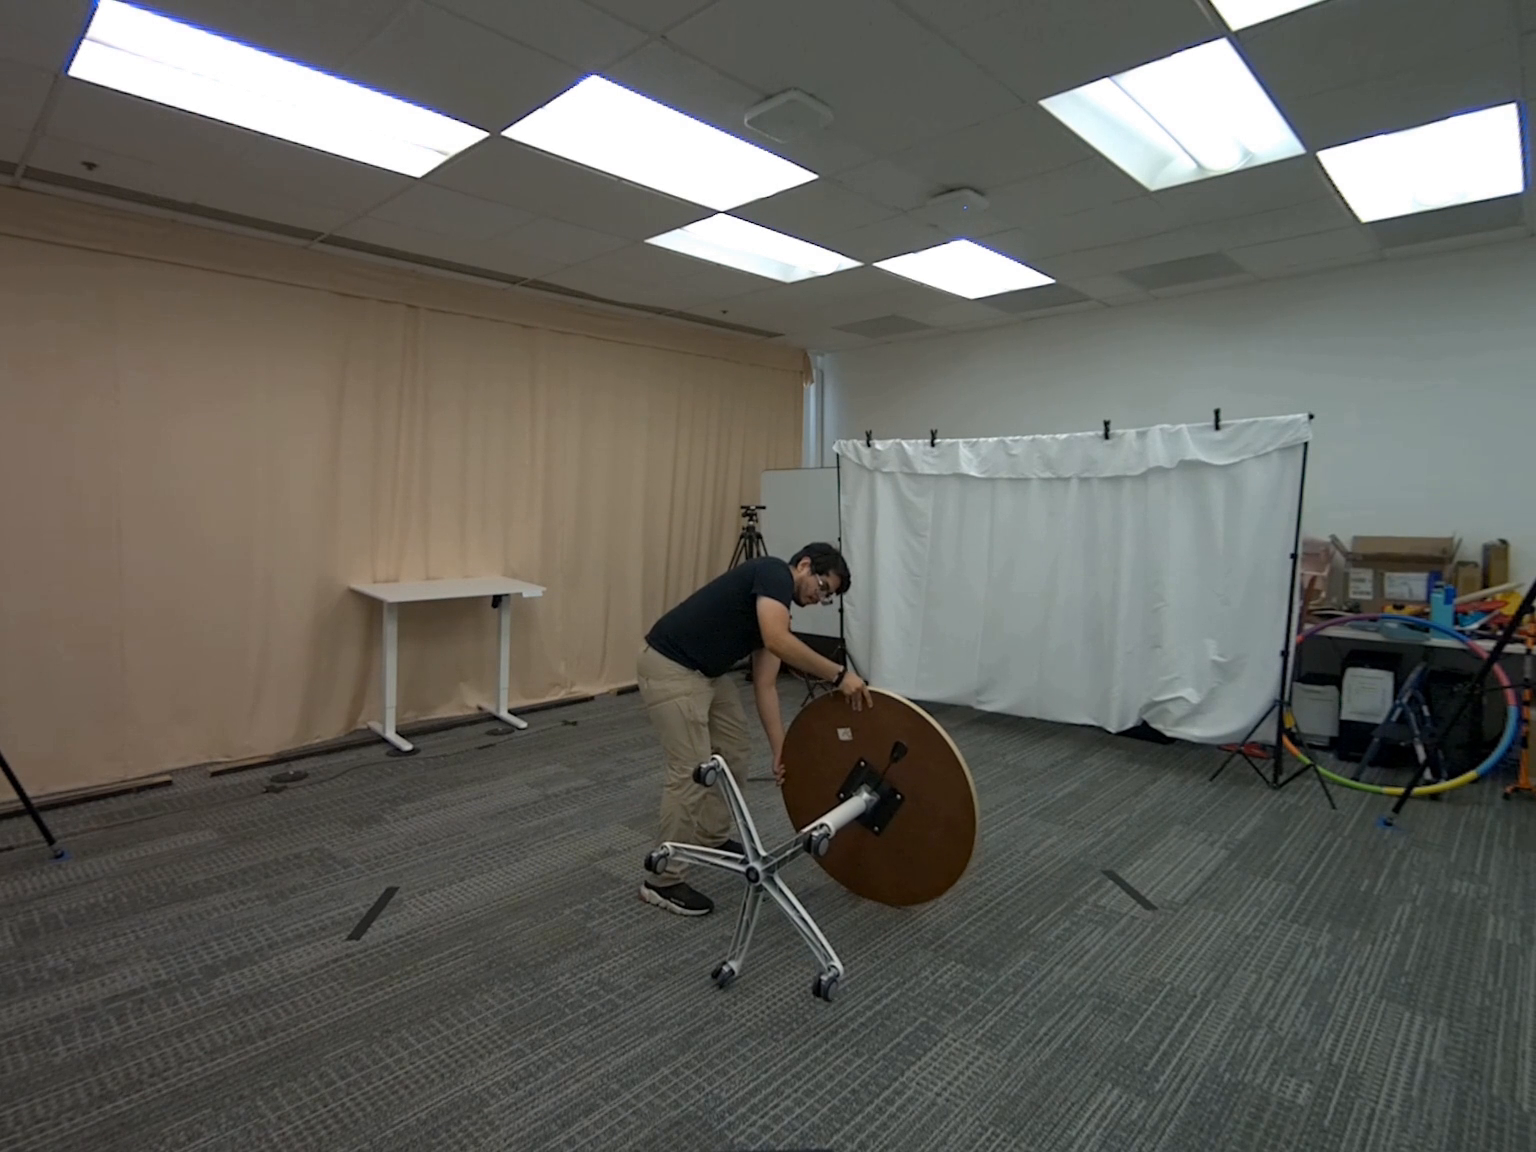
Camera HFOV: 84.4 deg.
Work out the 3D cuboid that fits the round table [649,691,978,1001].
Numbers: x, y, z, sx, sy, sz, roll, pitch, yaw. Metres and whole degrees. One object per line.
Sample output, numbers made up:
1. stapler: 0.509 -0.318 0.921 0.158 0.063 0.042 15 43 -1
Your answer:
1. round table: 0.151 0.806 2.634 0.810 0.782 0.765 3 8 37
